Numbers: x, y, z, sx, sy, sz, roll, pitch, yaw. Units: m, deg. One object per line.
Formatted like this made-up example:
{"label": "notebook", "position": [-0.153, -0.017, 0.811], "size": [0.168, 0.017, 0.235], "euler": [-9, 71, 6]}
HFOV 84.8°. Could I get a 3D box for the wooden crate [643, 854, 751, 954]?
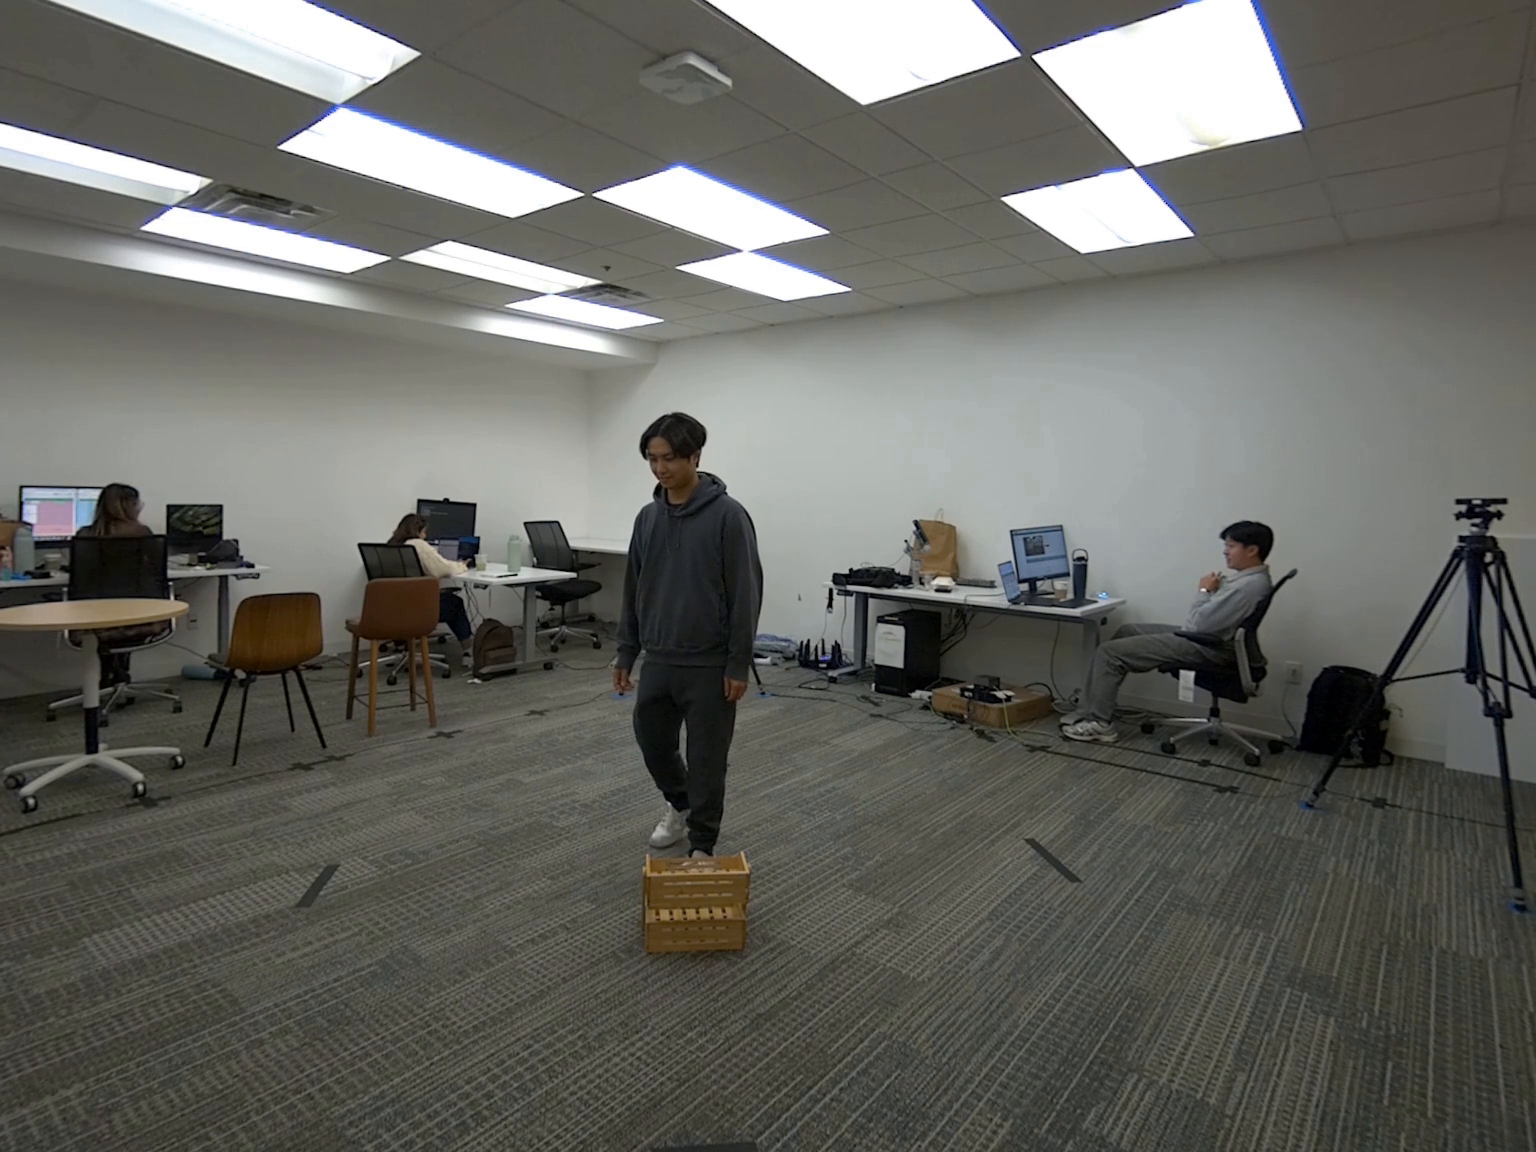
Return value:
{"label": "wooden crate", "position": [-0.240, 0.977, 2.653], "size": [0.322, 0.272, 0.306], "euler": [0, 5, -9]}
